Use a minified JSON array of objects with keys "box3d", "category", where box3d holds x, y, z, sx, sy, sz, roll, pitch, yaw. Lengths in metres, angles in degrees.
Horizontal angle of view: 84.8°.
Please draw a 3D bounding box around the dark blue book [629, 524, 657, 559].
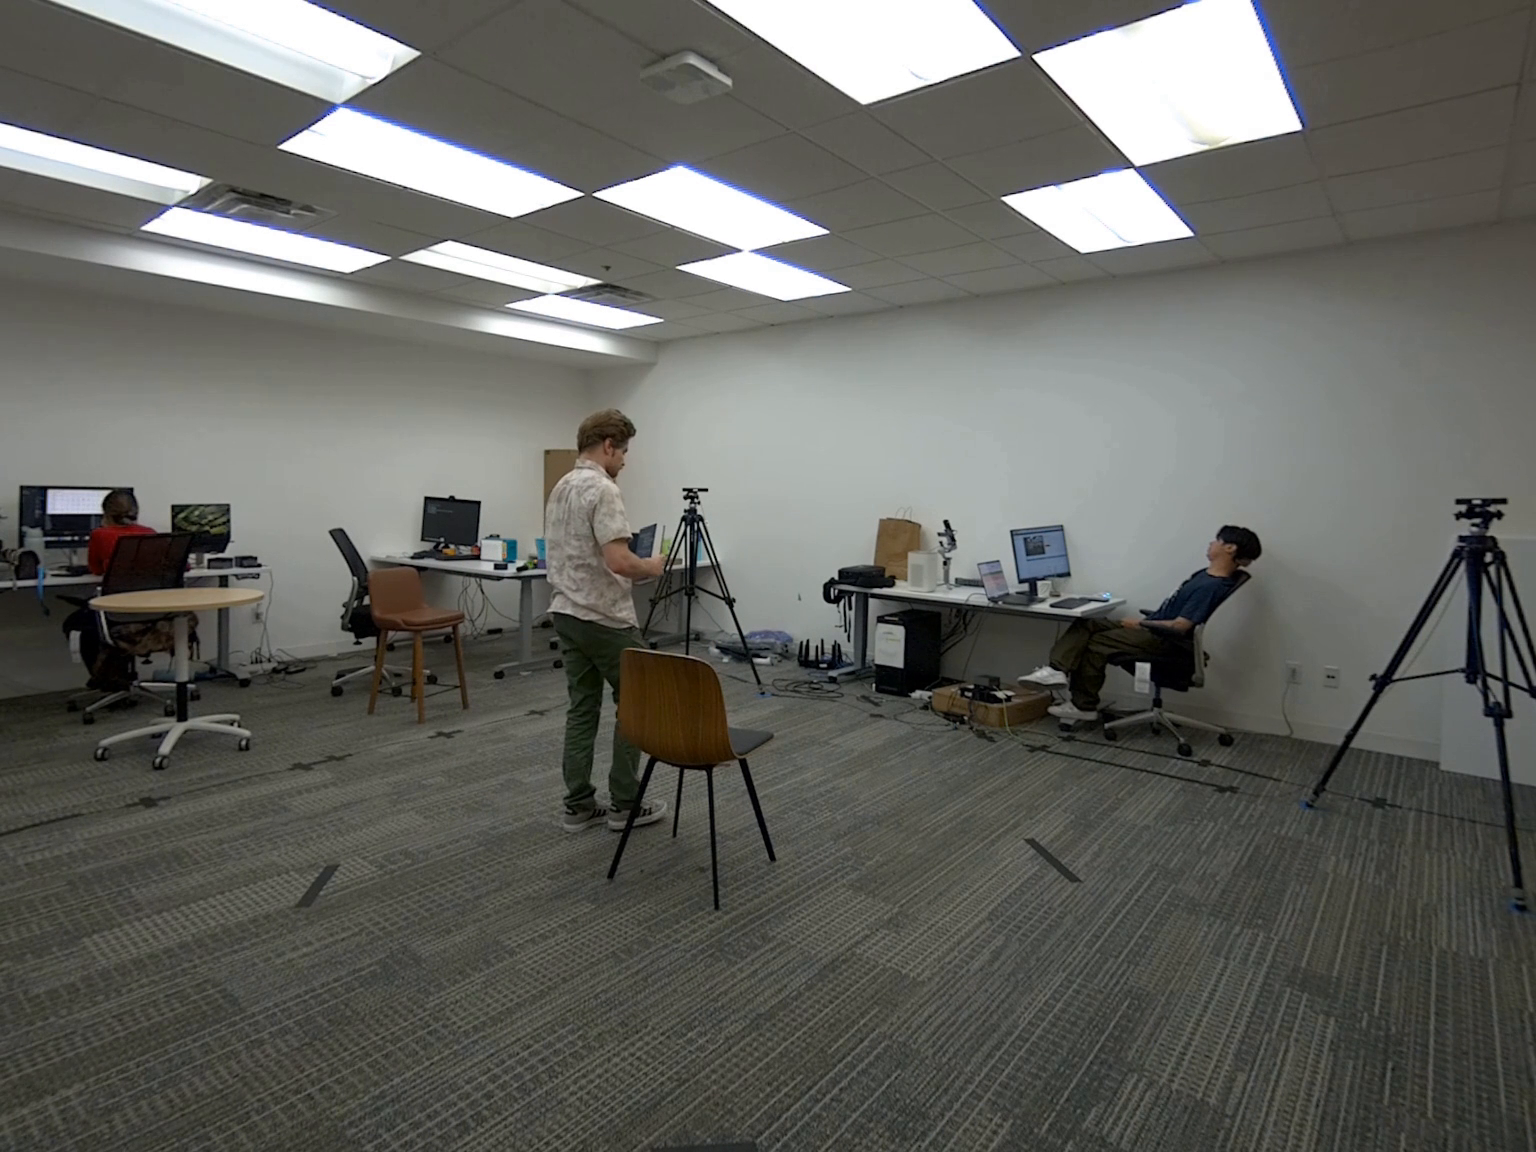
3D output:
[{"box3d":[-0.518,-0.092,3.610,0.044,0.248,0.167,19,-18,-30],"category":"dark blue book"}]
